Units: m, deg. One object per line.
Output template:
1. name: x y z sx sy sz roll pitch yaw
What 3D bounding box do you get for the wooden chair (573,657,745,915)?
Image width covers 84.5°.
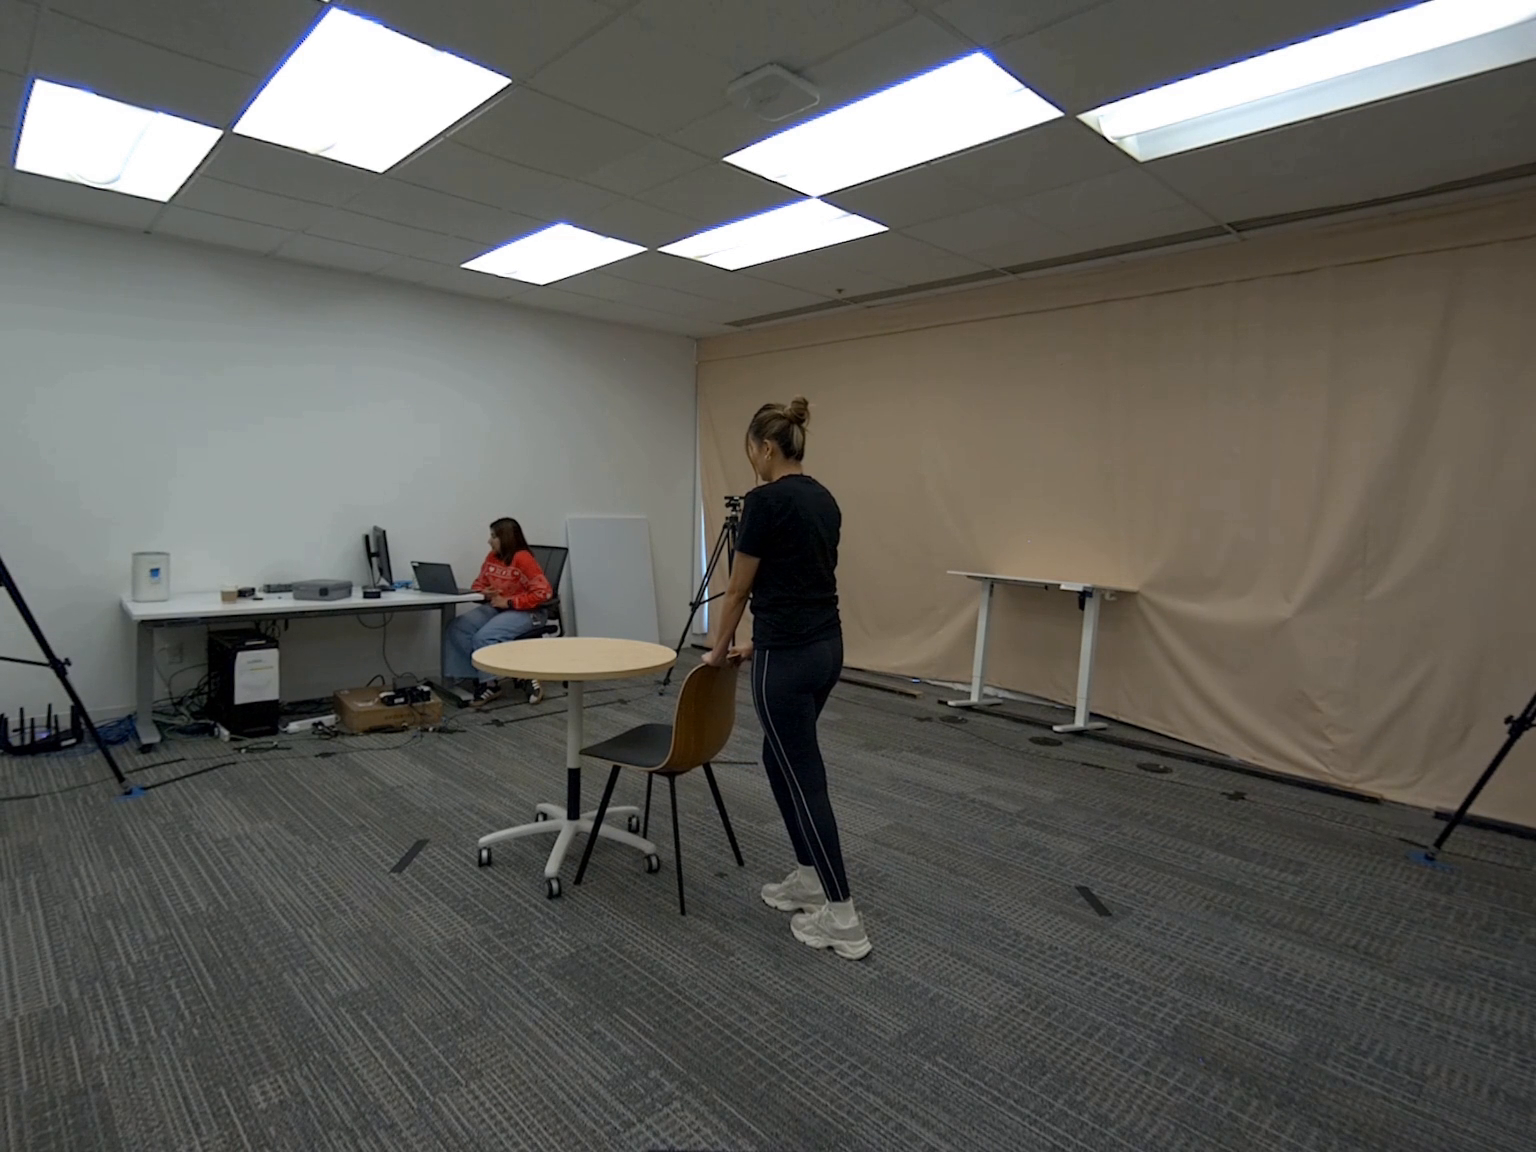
1. wooden chair: -0.385 0.672 3.063 0.534 0.874 0.470 8 6 27
